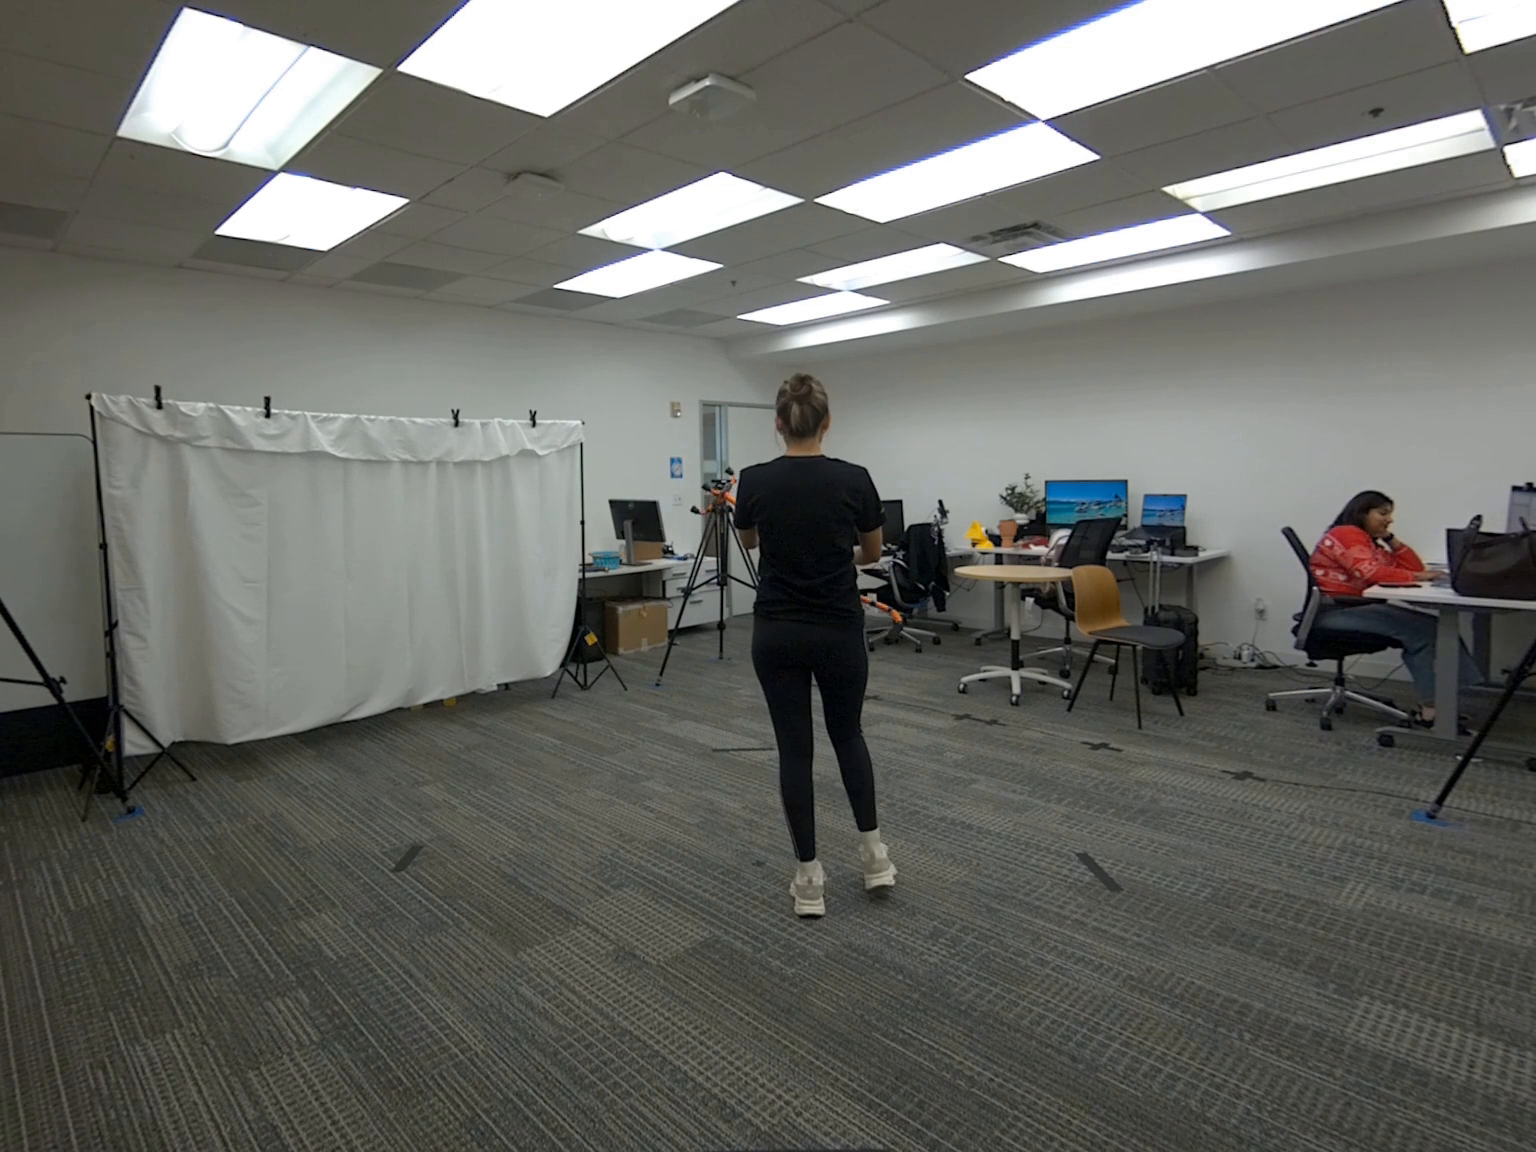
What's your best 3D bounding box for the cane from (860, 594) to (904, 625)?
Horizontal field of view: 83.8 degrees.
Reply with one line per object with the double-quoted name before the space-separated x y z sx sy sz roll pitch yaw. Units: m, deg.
"cane" 0.136 -0.070 3.261 0.922 0.150 0.205 38 39 11
